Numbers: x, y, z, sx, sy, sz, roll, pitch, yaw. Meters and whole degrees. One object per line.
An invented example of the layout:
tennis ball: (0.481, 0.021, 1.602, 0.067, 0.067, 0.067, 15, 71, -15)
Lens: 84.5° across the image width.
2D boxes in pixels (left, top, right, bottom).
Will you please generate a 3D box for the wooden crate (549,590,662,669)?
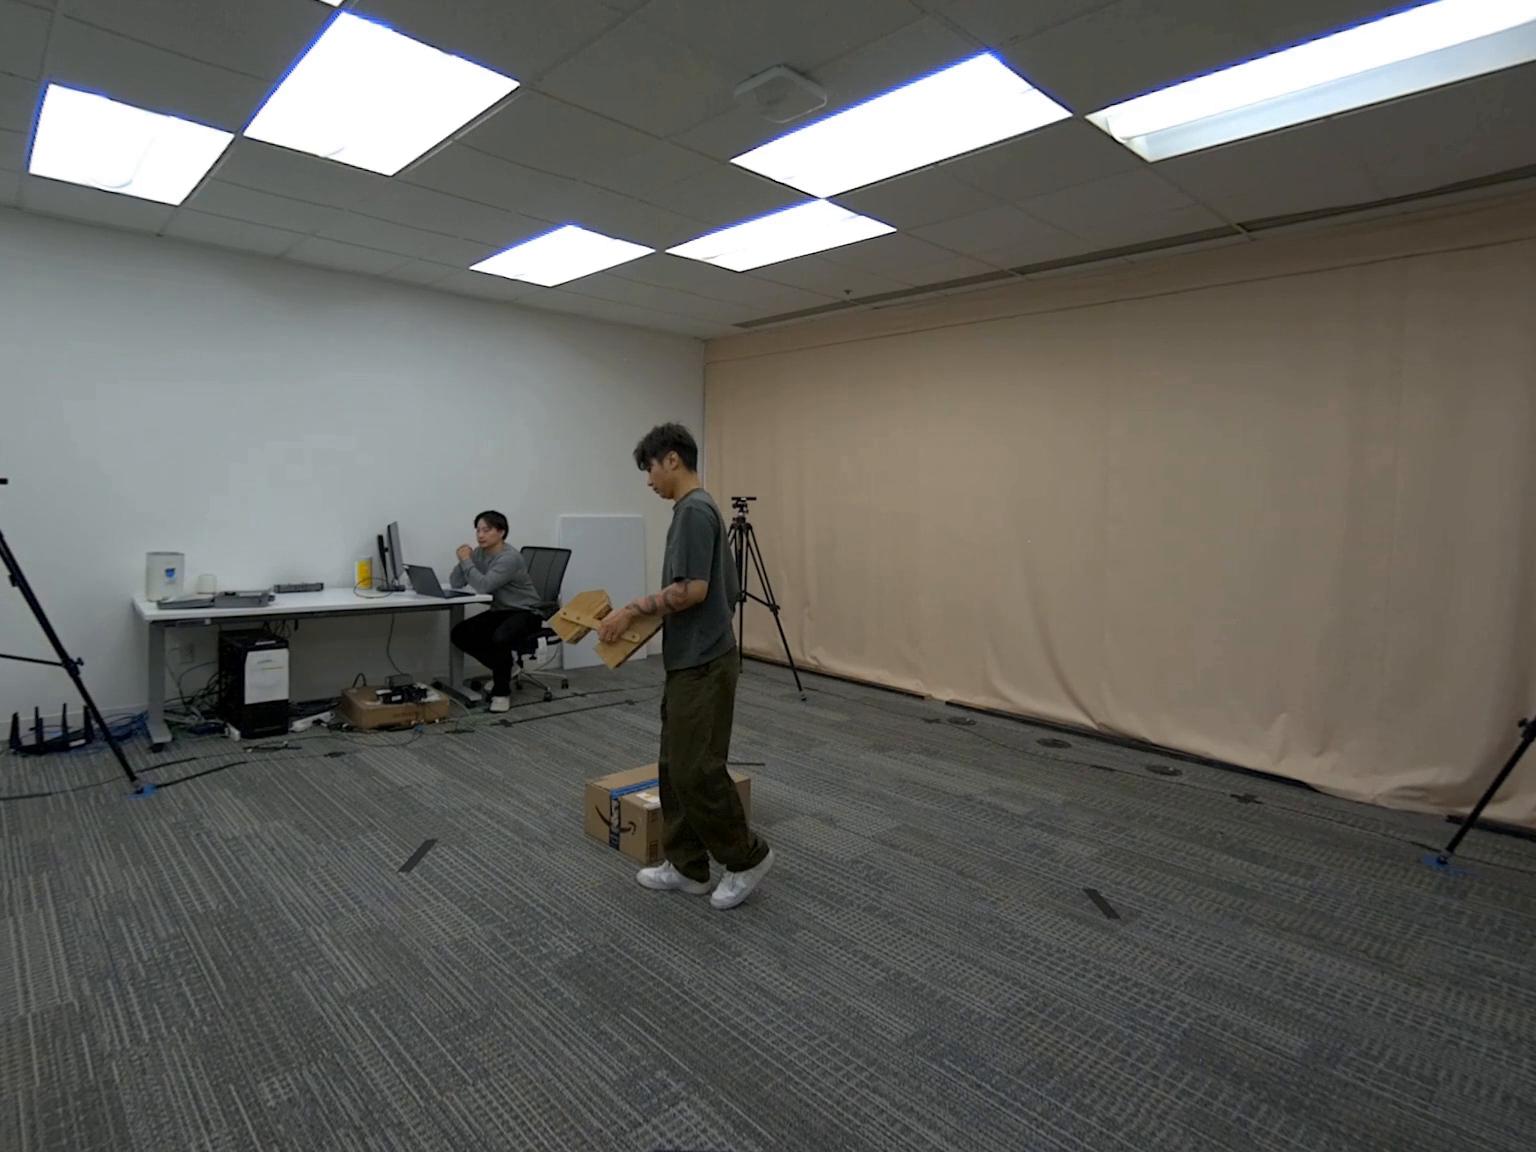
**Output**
wooden crate: (-0.556, 0.158, 2.917, 0.302, 0.274, 0.324, -44, -1, -9)
